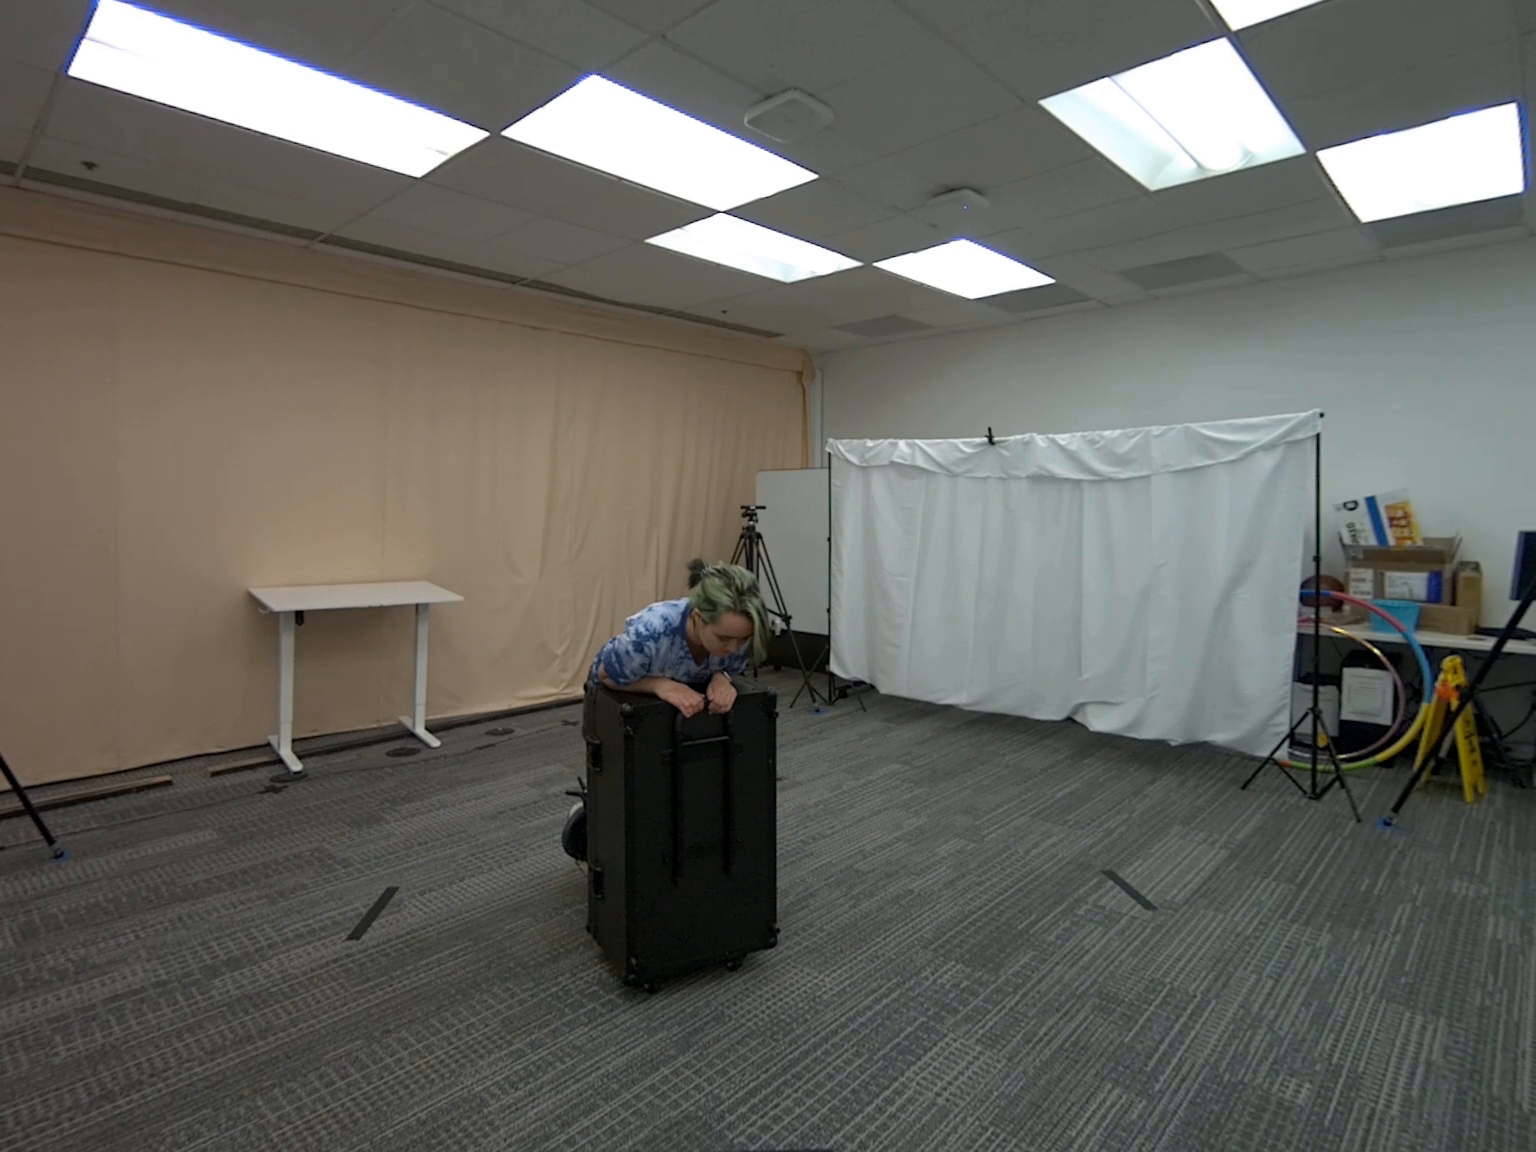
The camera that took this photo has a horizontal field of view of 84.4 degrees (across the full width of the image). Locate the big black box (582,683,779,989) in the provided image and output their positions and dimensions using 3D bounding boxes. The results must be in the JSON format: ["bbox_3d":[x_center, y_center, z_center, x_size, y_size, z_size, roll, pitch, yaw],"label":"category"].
[{"bbox_3d":[-0.258,0.706,2.543,0.508,0.859,0.407,-2,4,-28],"label":"big black box"}]
